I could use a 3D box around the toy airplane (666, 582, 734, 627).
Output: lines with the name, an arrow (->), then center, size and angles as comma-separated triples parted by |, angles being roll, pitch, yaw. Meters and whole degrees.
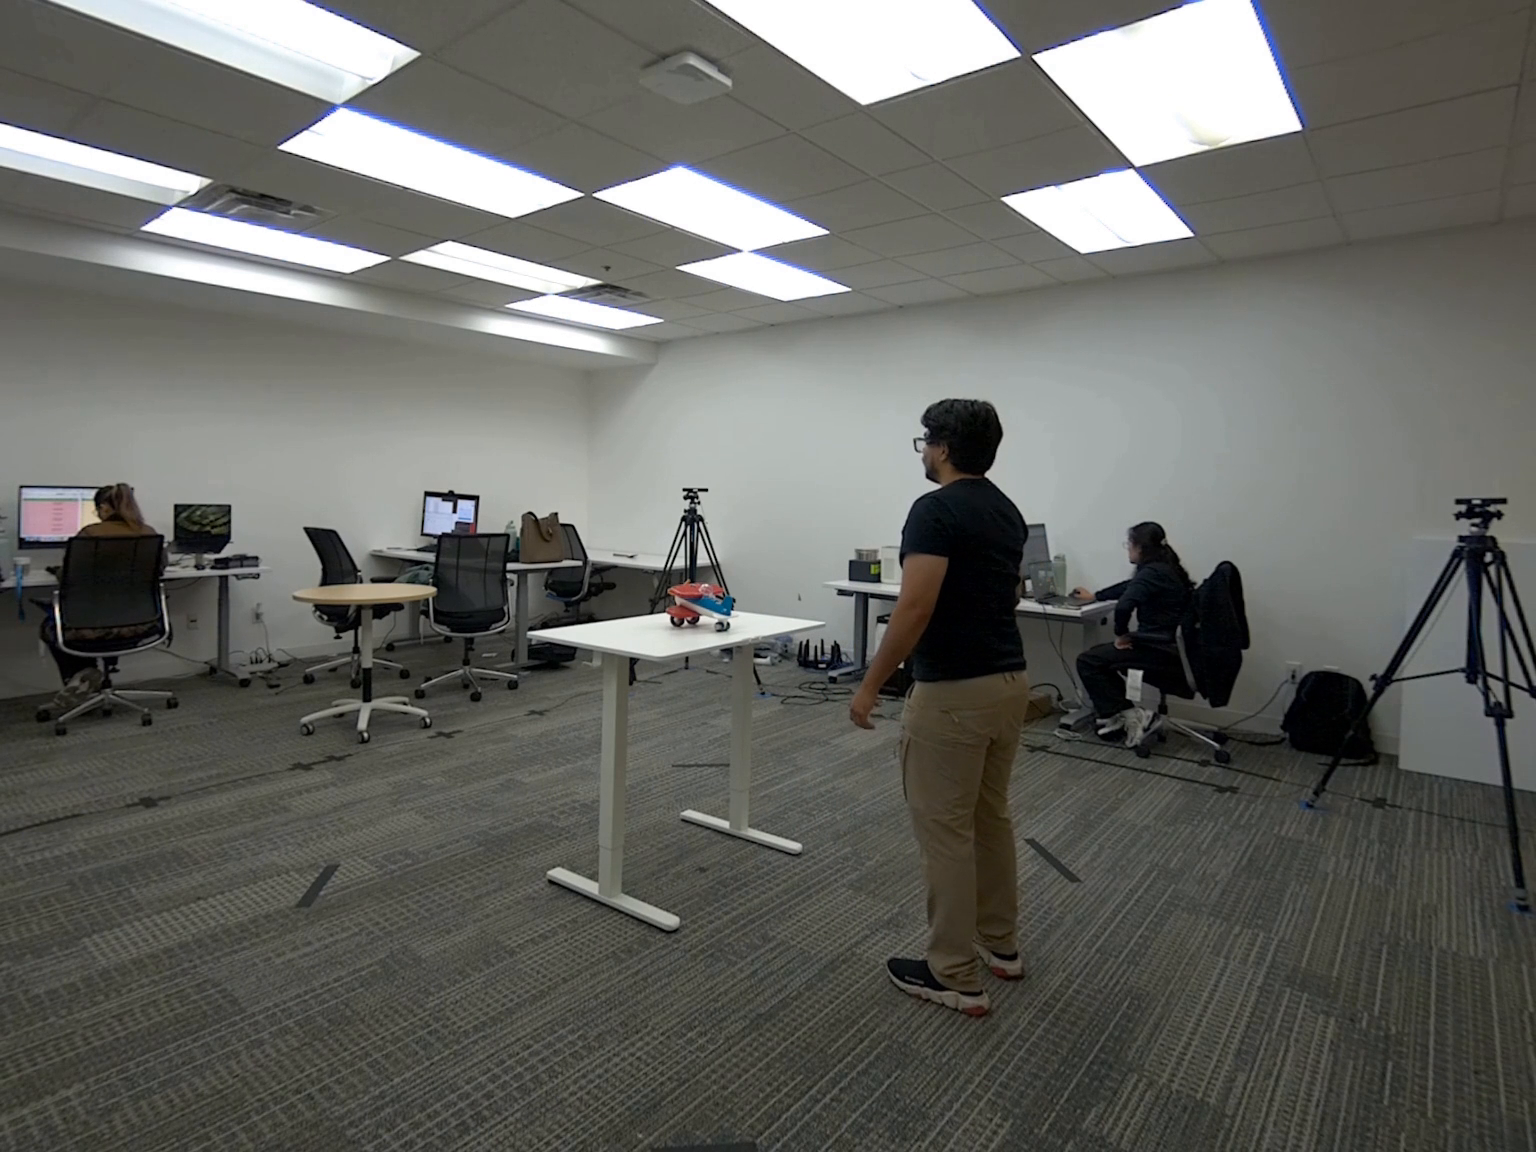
toy airplane -> -0.241, 0.109, 3.110 | 0.262, 0.156, 0.249 | 1, 5, 9
